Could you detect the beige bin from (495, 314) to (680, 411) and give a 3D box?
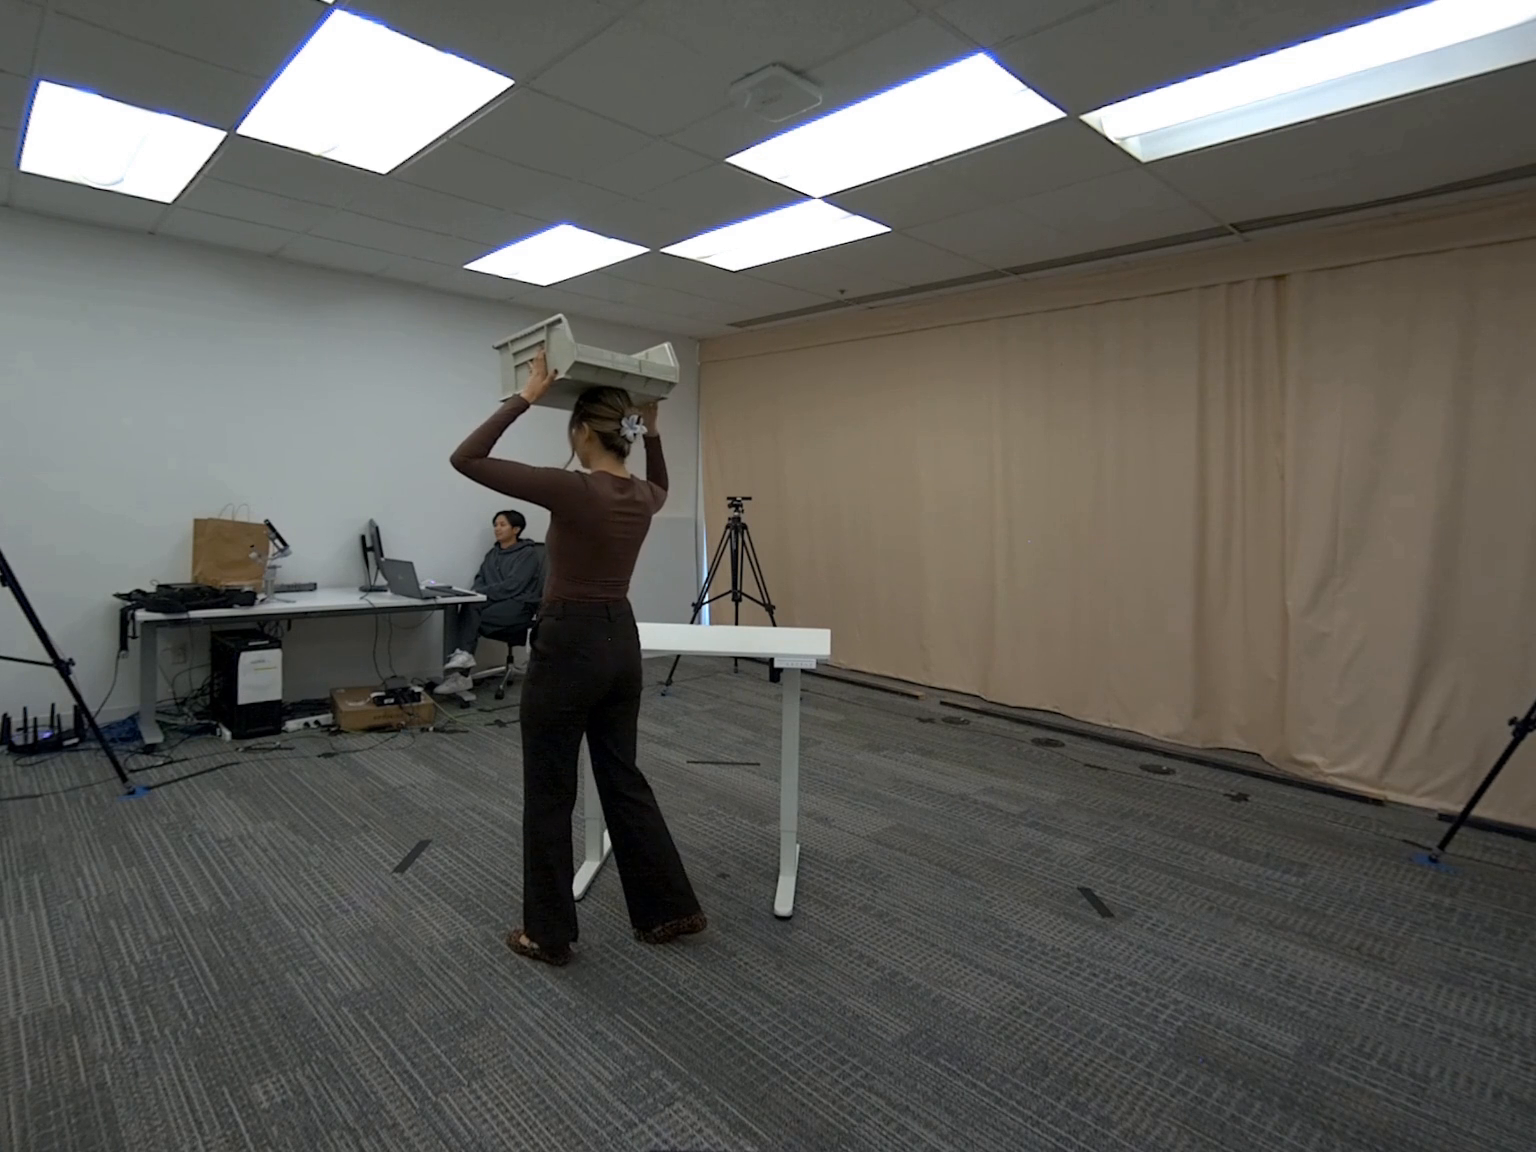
[{"bbox_3d":[-0.554,-0.629,2.570,0.385,0.189,0.412,-7,-4,39],"label":"beige bin"}]
